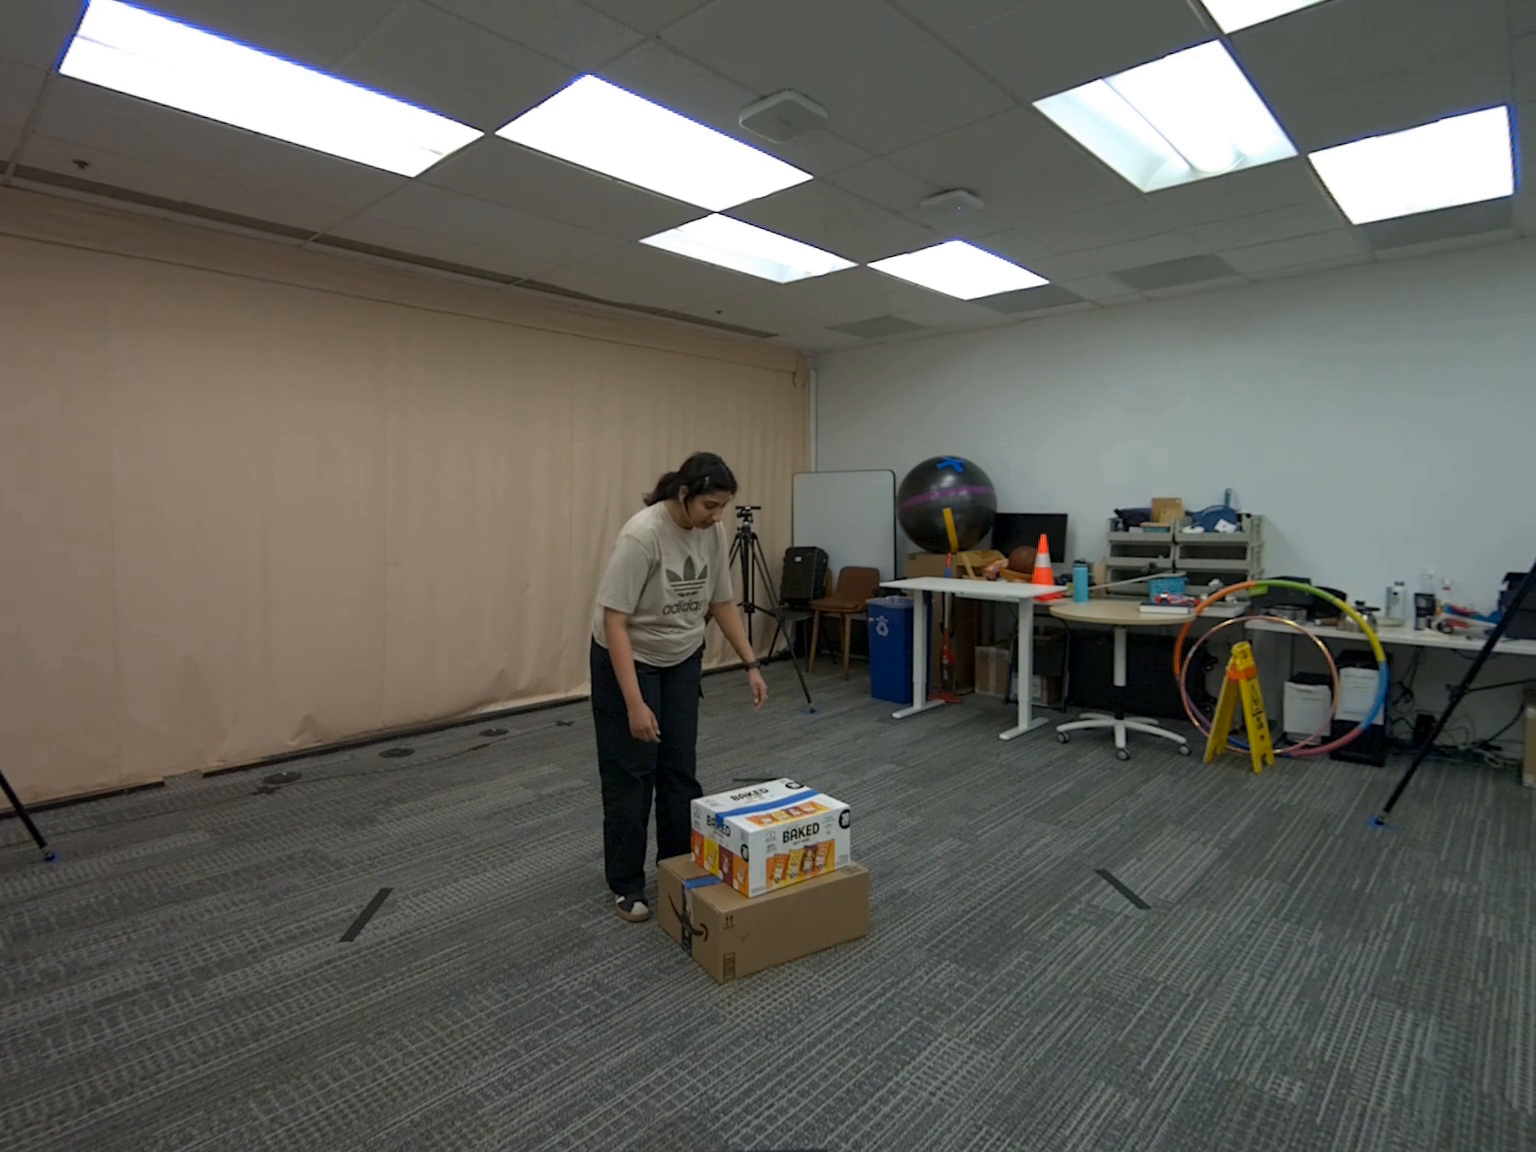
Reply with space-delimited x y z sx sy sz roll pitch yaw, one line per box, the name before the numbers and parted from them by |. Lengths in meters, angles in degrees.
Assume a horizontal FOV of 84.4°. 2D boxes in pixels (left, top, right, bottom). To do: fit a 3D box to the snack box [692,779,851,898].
snack box | 0.011 0.848 2.771 0.393 0.205 0.351 -4 5 -35
